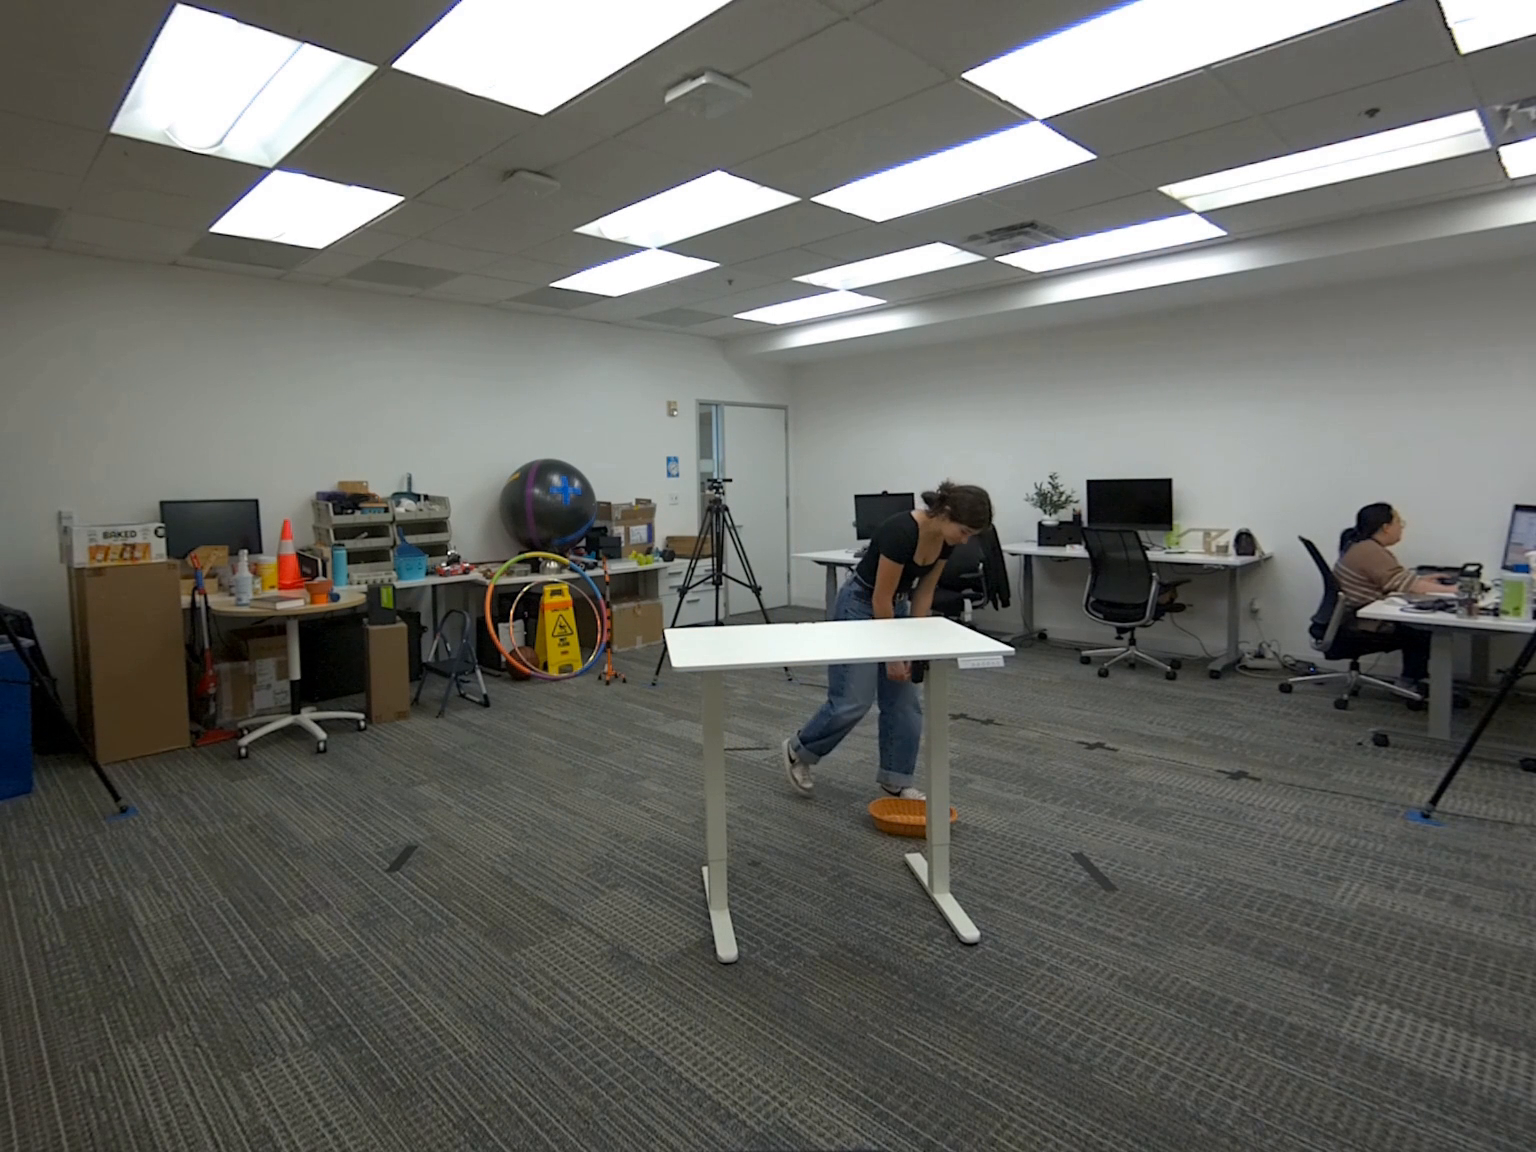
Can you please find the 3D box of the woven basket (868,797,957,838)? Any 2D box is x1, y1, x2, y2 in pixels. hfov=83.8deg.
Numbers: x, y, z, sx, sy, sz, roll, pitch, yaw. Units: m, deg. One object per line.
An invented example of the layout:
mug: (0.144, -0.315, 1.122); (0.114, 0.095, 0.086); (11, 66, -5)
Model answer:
woven basket: (0.569, 0.963, 3.398); (0.356, 0.073, 0.250); (1, 8, 16)
